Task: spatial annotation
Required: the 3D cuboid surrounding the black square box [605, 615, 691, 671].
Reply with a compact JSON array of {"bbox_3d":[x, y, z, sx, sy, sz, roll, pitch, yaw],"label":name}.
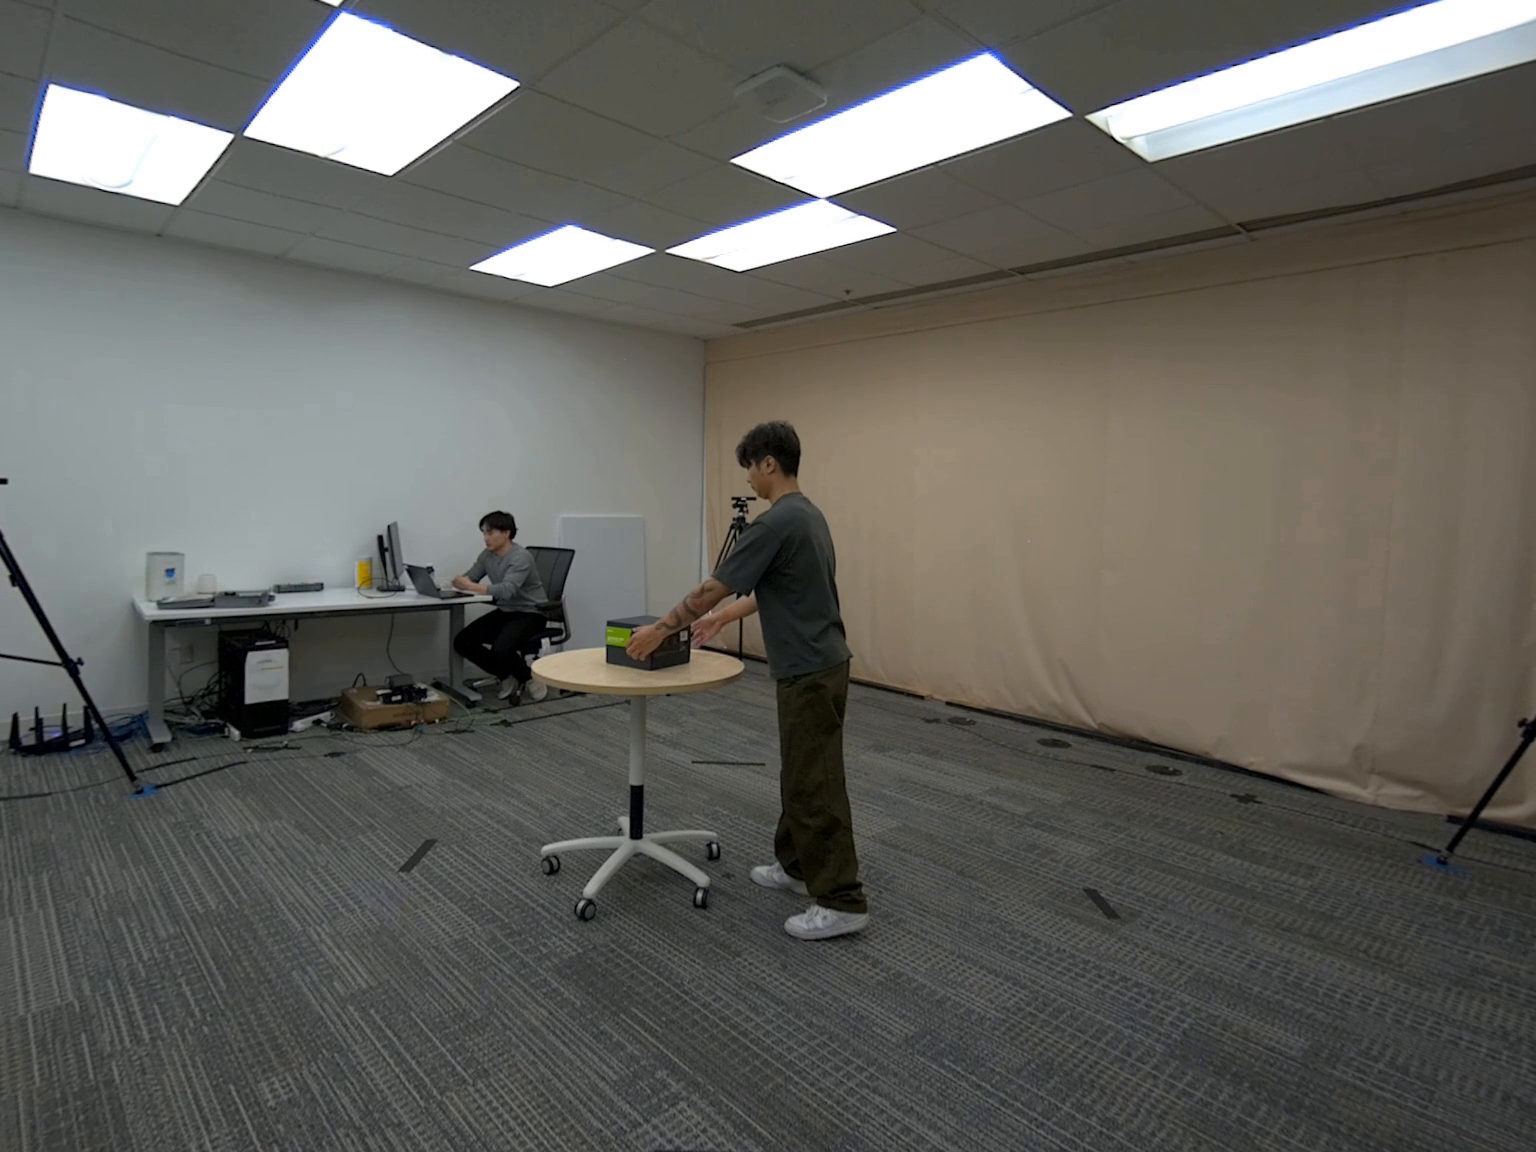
[{"bbox_3d":[-0.447,0.239,3.084,0.233,0.155,0.212,4,6,35],"label":"black square box"}]
